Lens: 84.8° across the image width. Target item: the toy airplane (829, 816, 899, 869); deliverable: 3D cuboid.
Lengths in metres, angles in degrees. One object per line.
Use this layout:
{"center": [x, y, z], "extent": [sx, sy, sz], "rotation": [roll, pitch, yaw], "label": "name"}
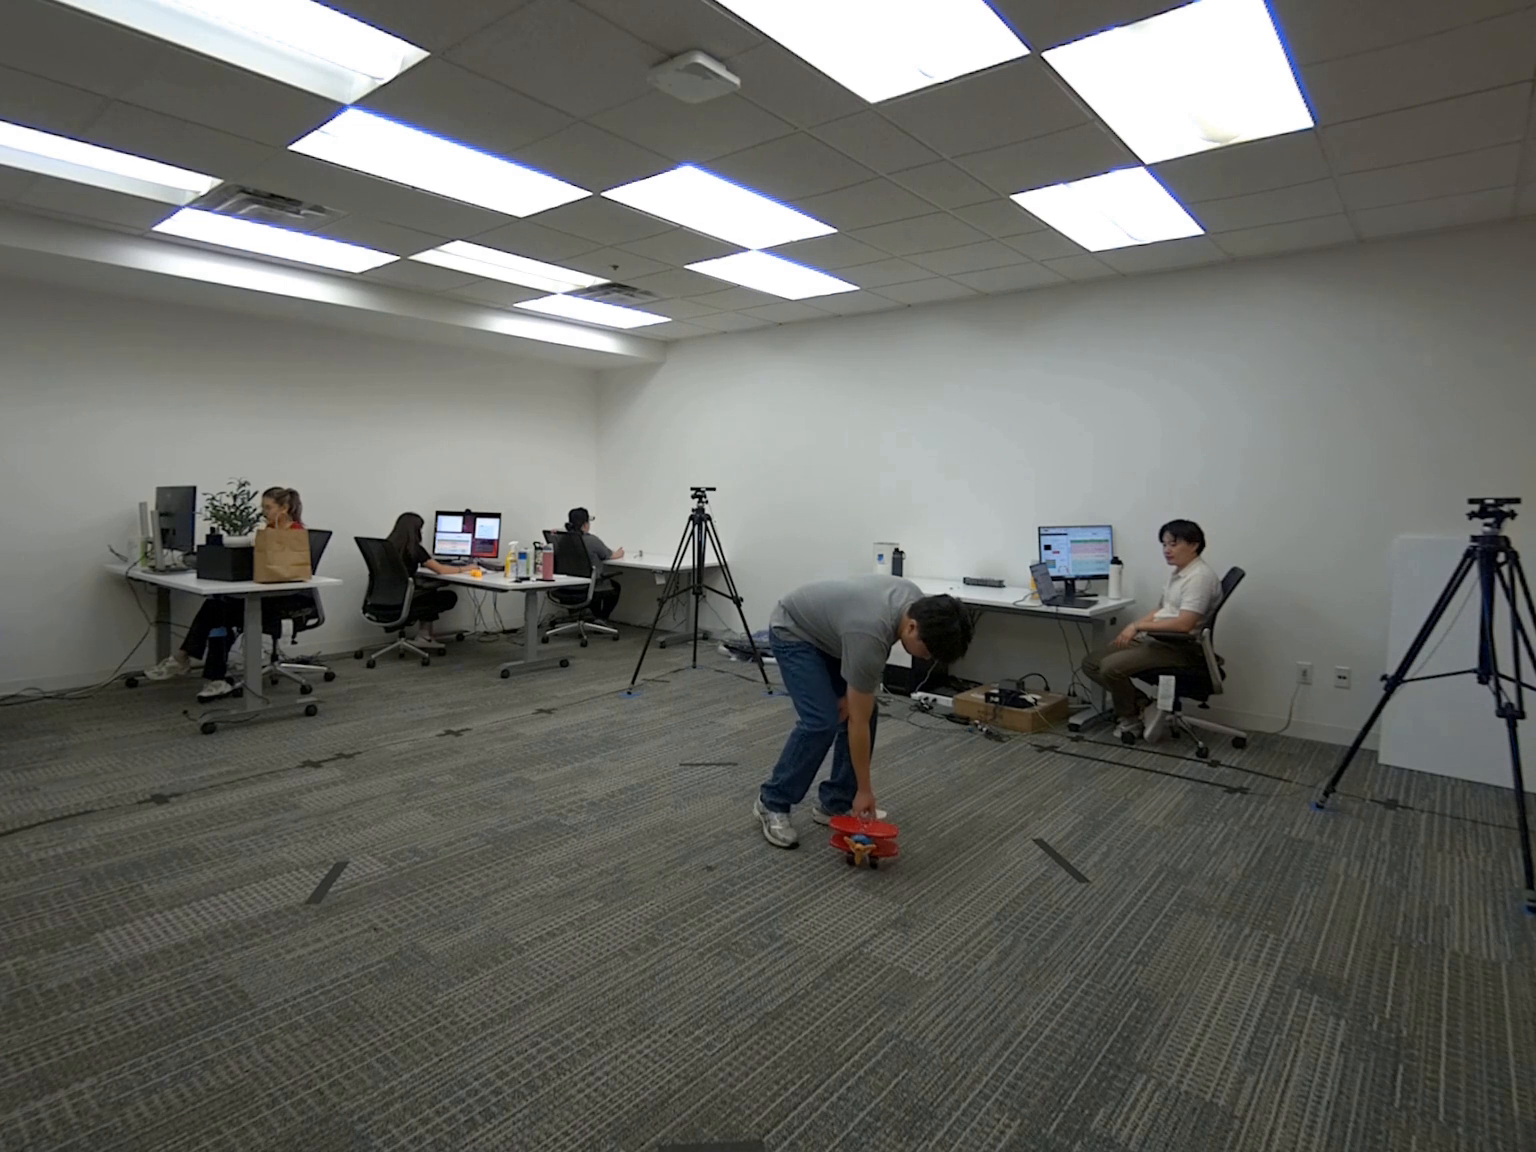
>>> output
{"center": [0.335, 0.964, 3.201], "extent": [0.249, 0.152, 0.268], "rotation": [-13, 33, -7], "label": "toy airplane"}
